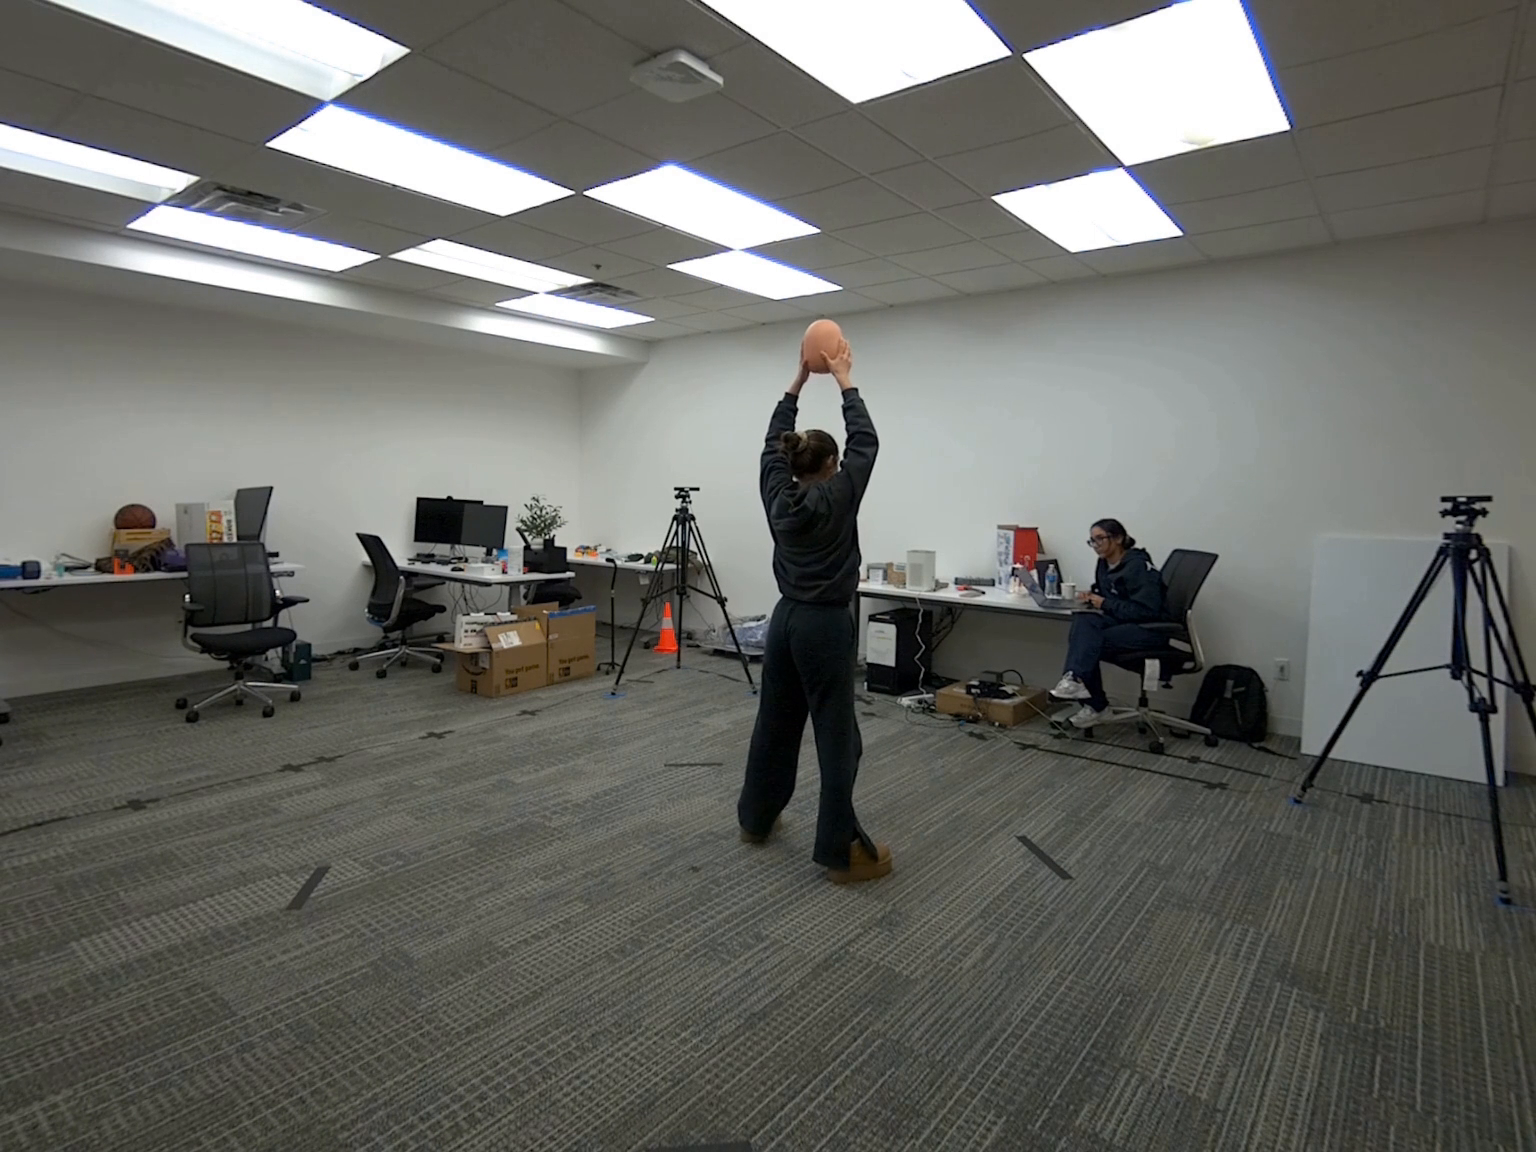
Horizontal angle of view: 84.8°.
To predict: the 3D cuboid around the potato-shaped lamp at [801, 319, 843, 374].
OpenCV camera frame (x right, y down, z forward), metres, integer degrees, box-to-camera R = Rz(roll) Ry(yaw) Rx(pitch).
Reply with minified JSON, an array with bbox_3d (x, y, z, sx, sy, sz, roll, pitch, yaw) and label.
[{"bbox_3d":[0.212,-0.867,3.207,0.167,0.196,0.170,-12,11,-41],"label":"potato-shaped lamp"}]
